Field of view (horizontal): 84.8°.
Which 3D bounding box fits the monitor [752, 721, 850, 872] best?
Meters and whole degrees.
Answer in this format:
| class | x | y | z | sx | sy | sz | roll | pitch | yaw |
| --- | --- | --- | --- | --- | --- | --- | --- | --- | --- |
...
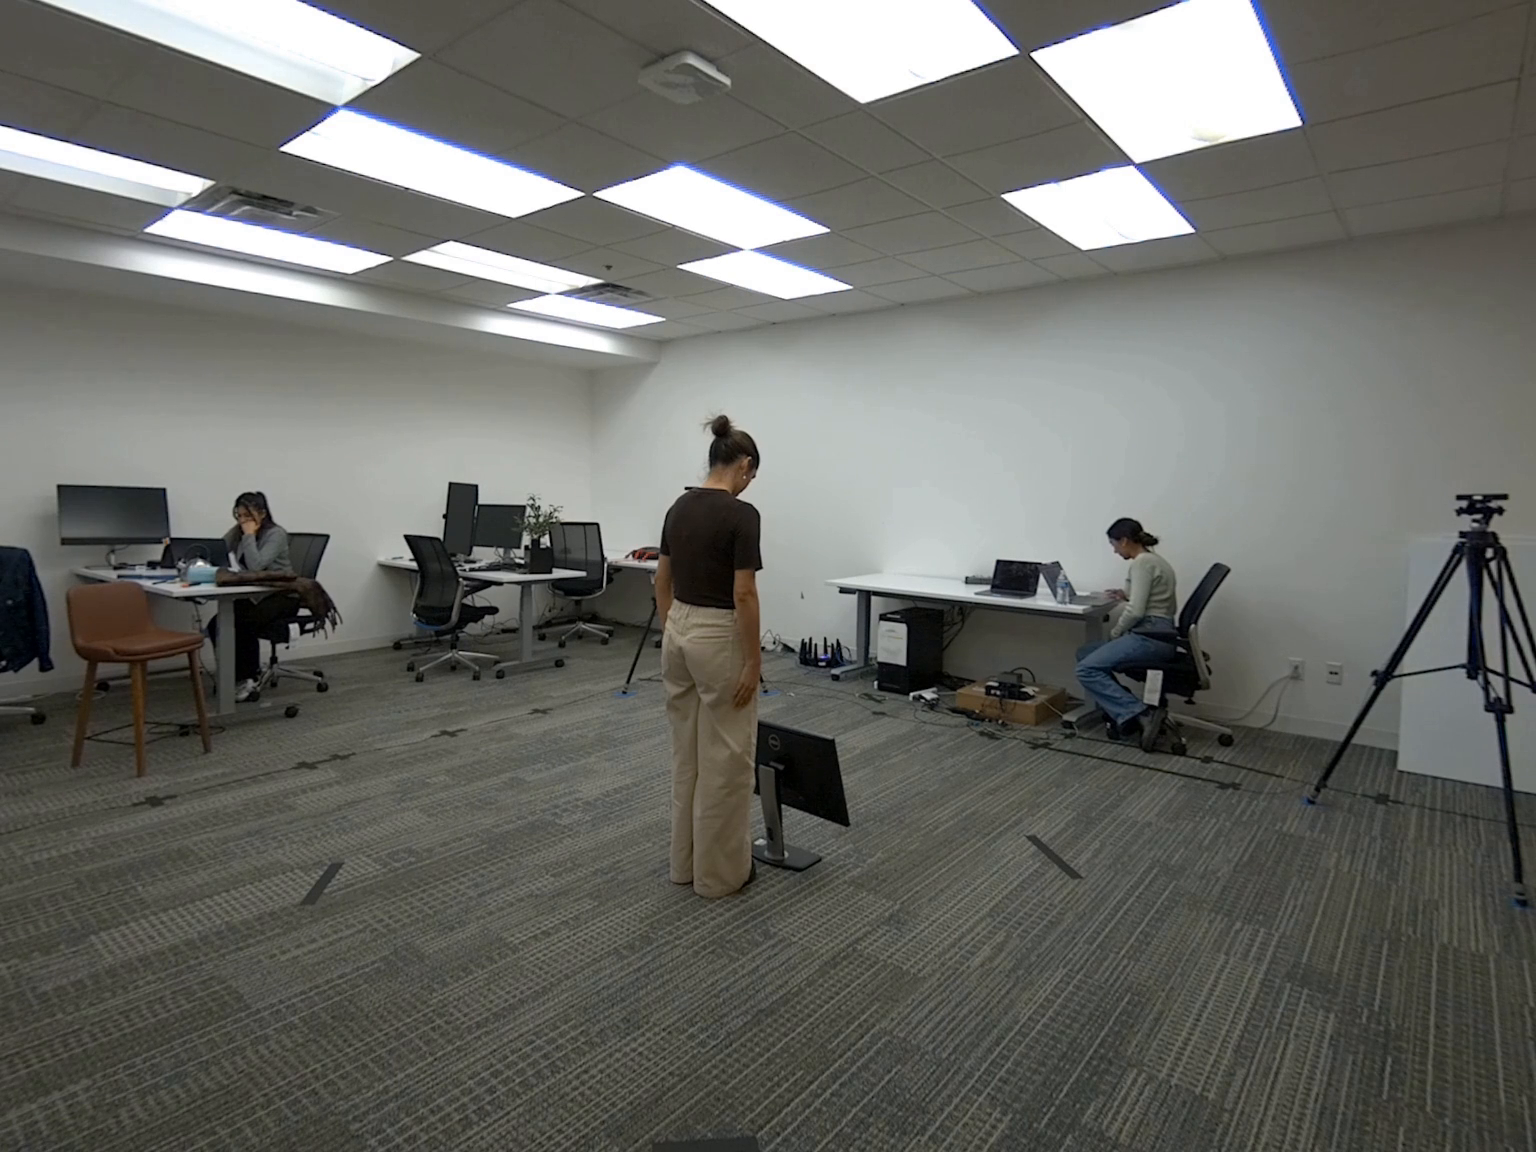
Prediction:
| class | x | y | z | sx | sy | sz | roll | pitch | yaw |
| --- | --- | --- | --- | --- | --- | --- | --- | --- | --- |
| monitor | 0.037 | 0.810 | 3.194 | 0.557 | 0.520 | 0.181 | 5 | 6 | 42 |
